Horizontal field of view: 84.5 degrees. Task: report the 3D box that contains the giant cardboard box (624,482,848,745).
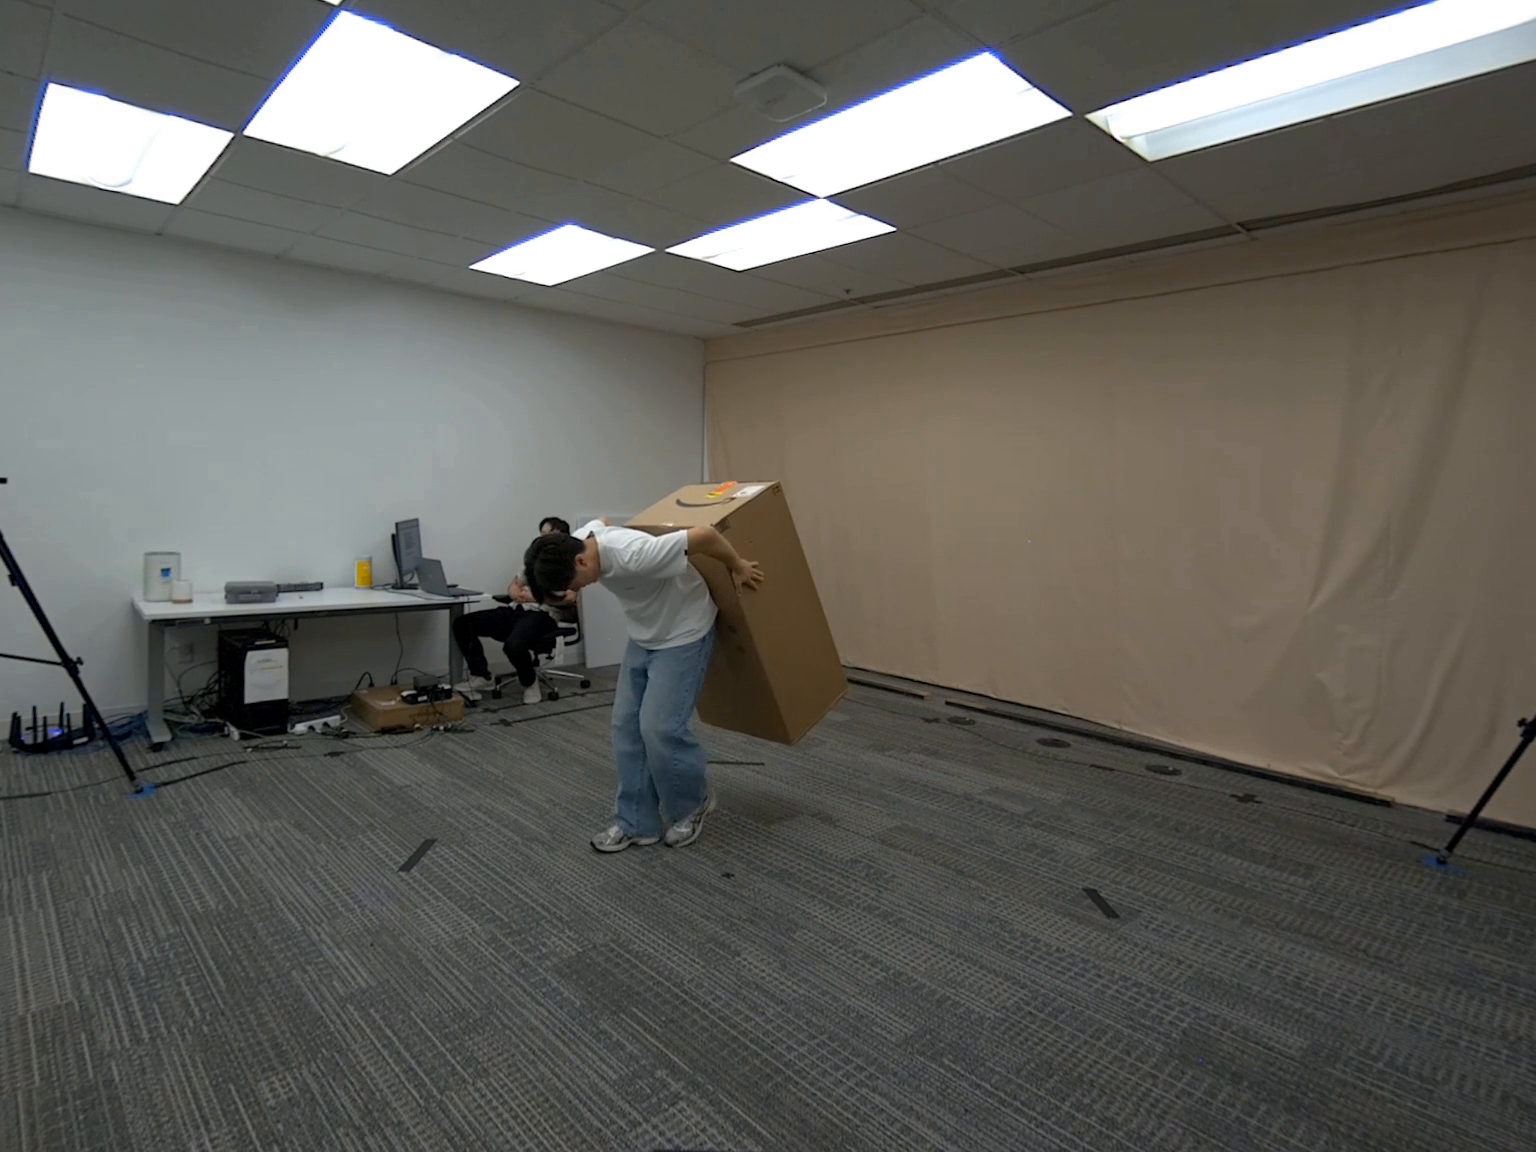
[{"bbox_3d":[-0.127,0.146,3.648,0.592,1.007,0.423,2,28,45],"label":"giant cardboard box"}]
